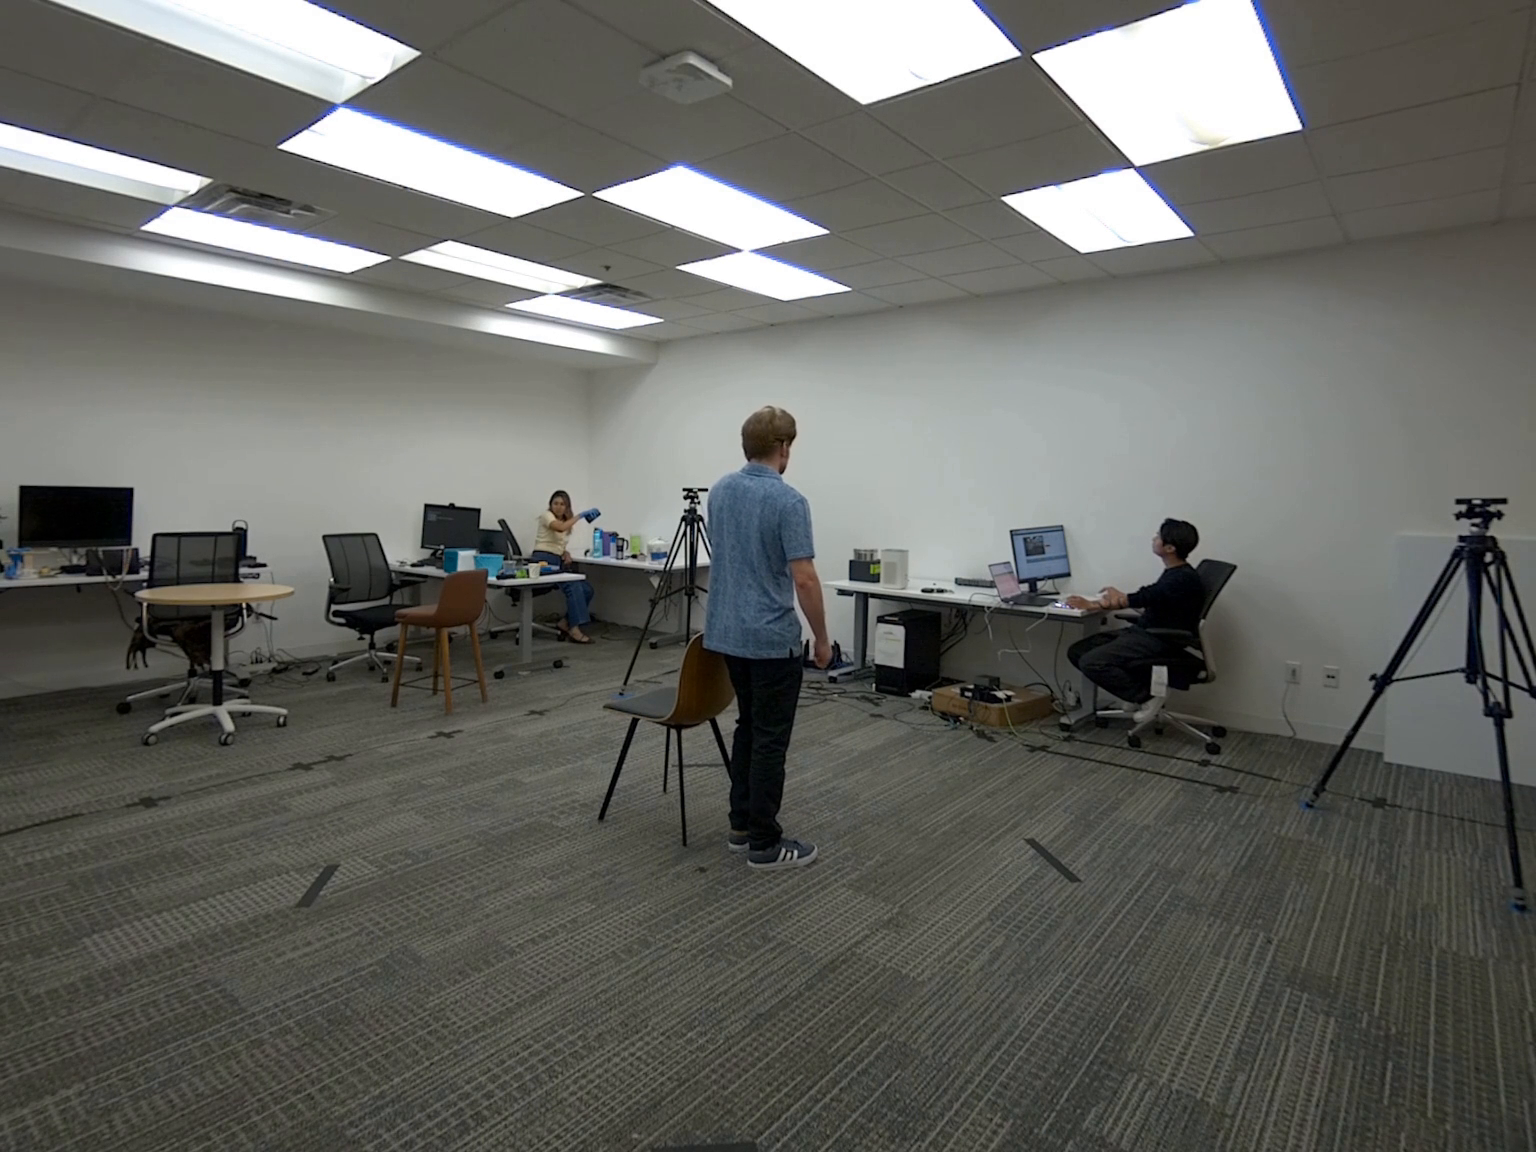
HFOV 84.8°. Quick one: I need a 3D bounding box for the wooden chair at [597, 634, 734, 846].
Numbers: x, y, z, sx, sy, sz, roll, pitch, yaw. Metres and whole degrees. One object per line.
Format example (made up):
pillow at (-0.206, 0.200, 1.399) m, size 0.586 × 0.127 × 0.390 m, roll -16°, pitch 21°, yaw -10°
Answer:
wooden chair at (-0.410, 0.591, 3.585) m, size 0.540 × 0.873 × 0.465 m, roll 9°, pitch 7°, yaw 32°
